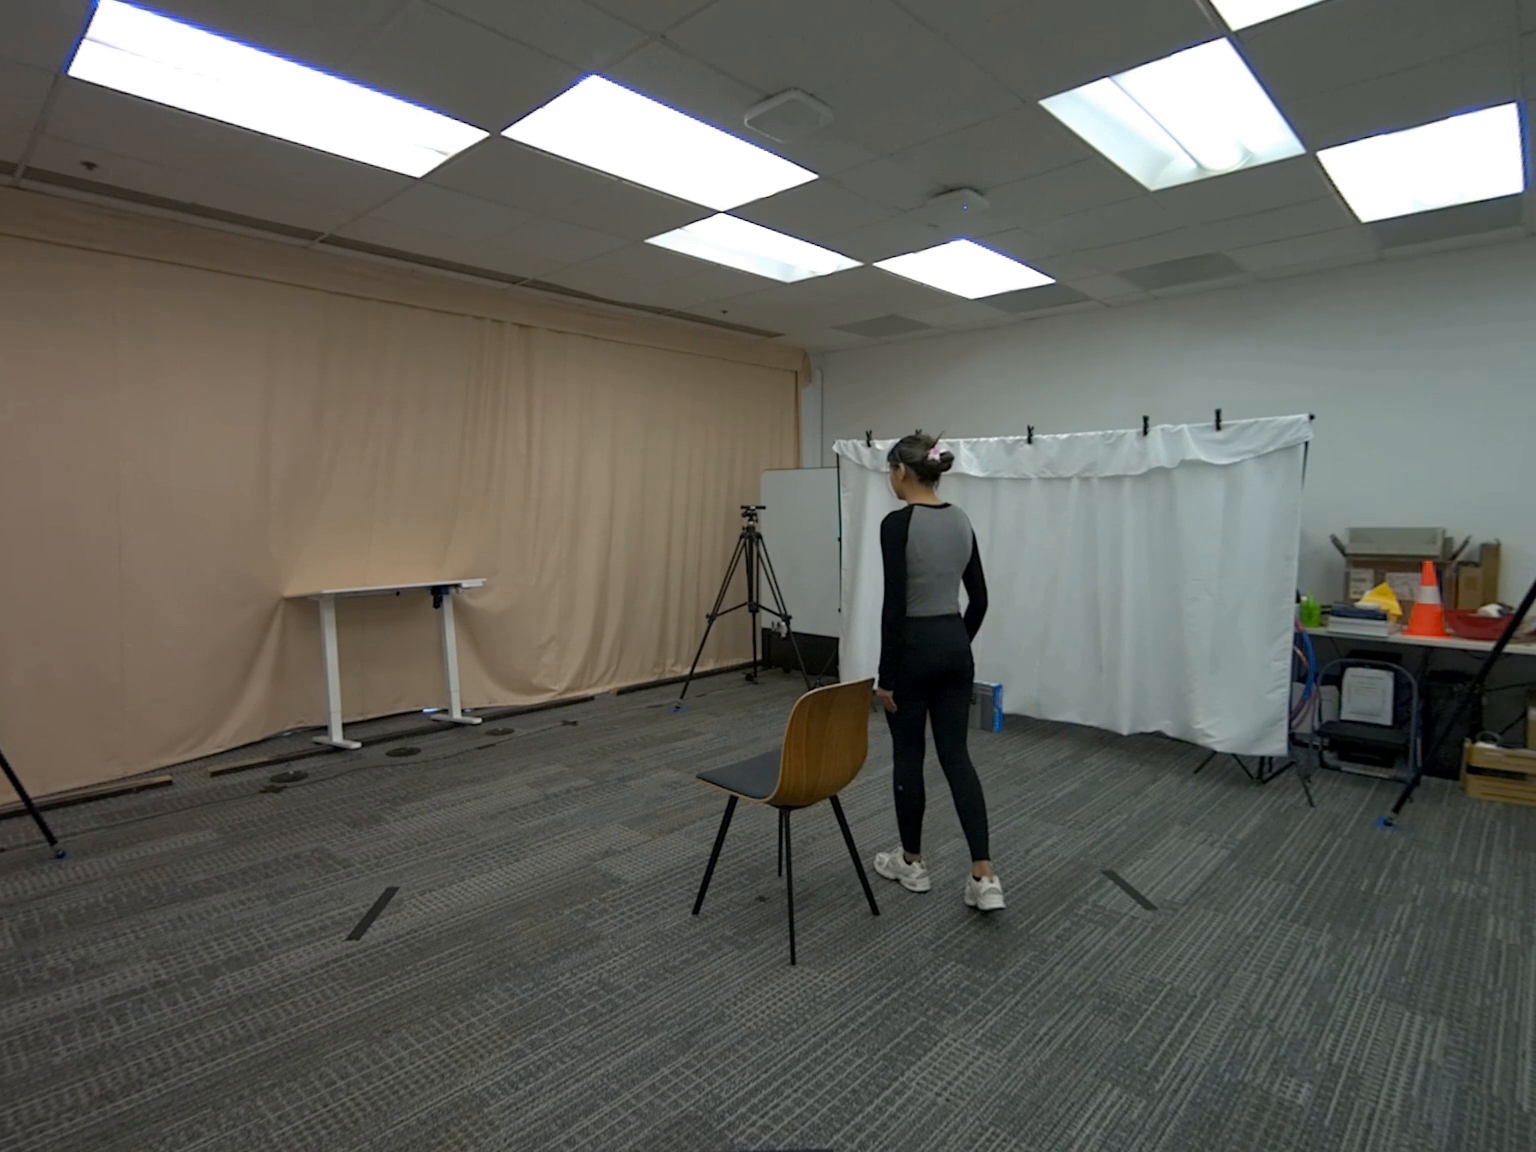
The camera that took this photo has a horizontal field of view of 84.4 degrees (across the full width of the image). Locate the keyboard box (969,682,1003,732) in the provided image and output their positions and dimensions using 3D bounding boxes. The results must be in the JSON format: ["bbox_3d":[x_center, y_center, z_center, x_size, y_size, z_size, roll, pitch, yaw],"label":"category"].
[{"bbox_3d":[0.694,0.471,3.239,0.057,0.175,0.452,-5,8,-42],"label":"keyboard box"}]
